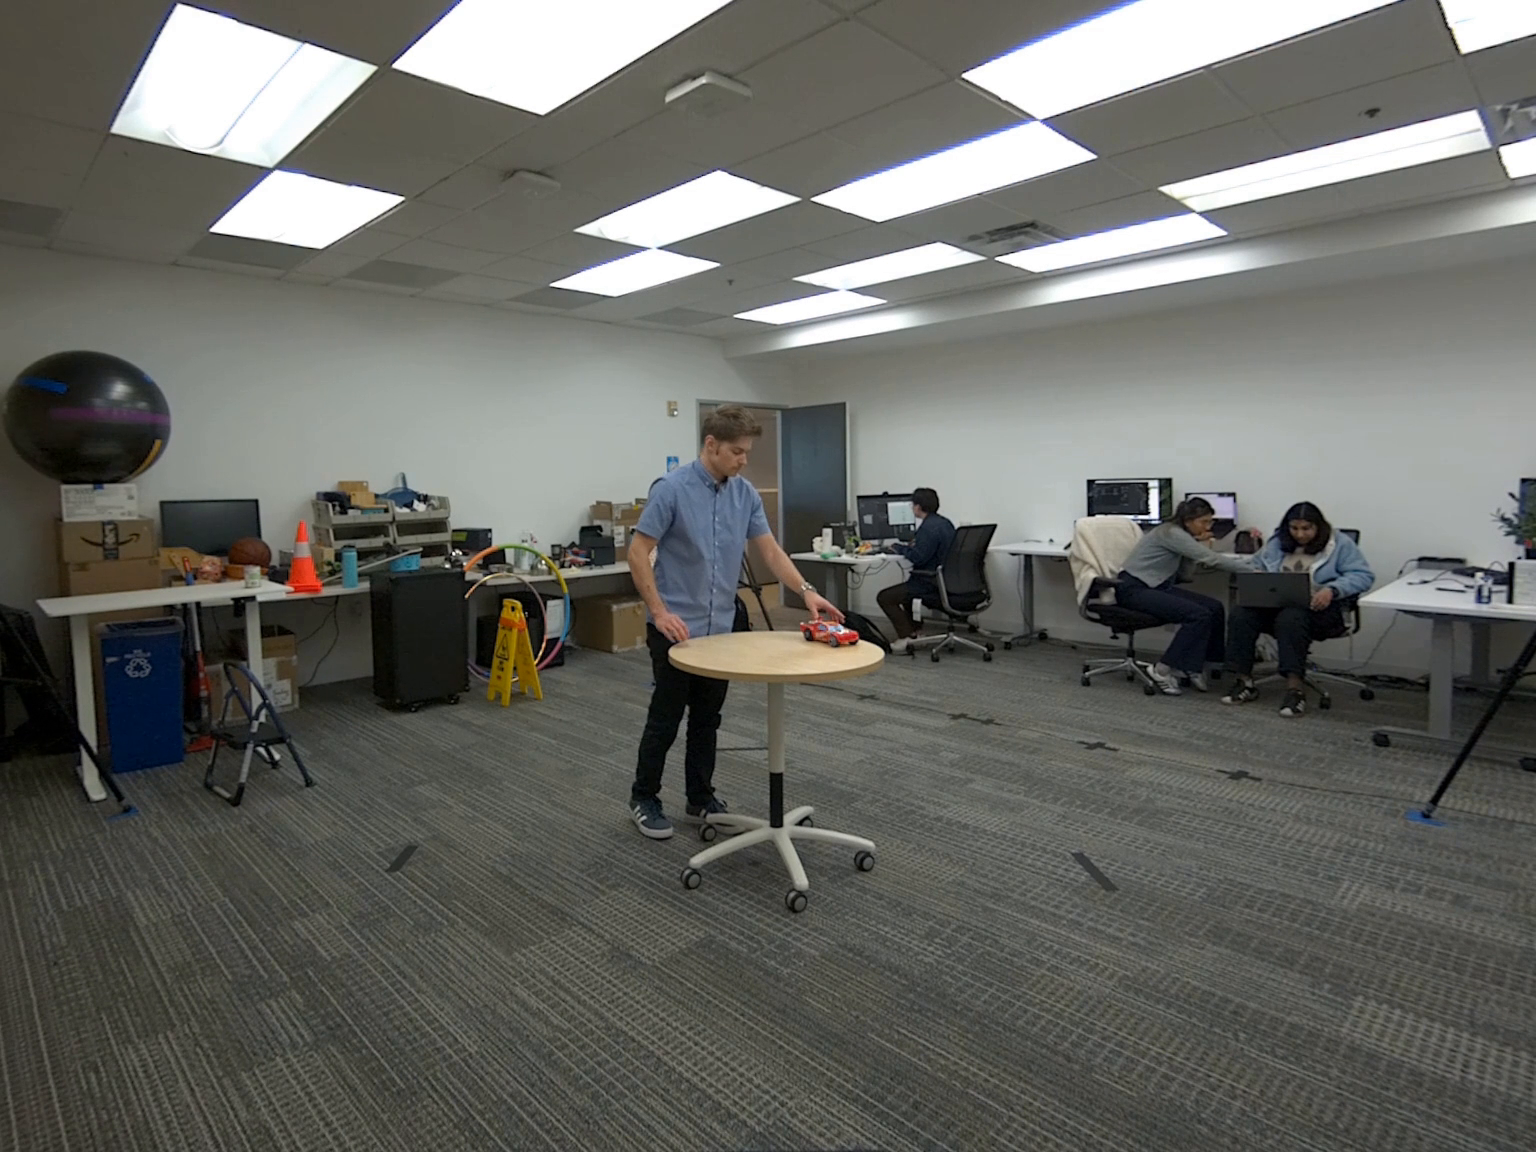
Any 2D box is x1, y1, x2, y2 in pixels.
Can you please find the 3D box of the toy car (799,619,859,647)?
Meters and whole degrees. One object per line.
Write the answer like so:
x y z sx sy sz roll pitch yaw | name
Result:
0.225 0.215 3.212 0.127 0.082 0.264 -3 16 -33 | toy car
